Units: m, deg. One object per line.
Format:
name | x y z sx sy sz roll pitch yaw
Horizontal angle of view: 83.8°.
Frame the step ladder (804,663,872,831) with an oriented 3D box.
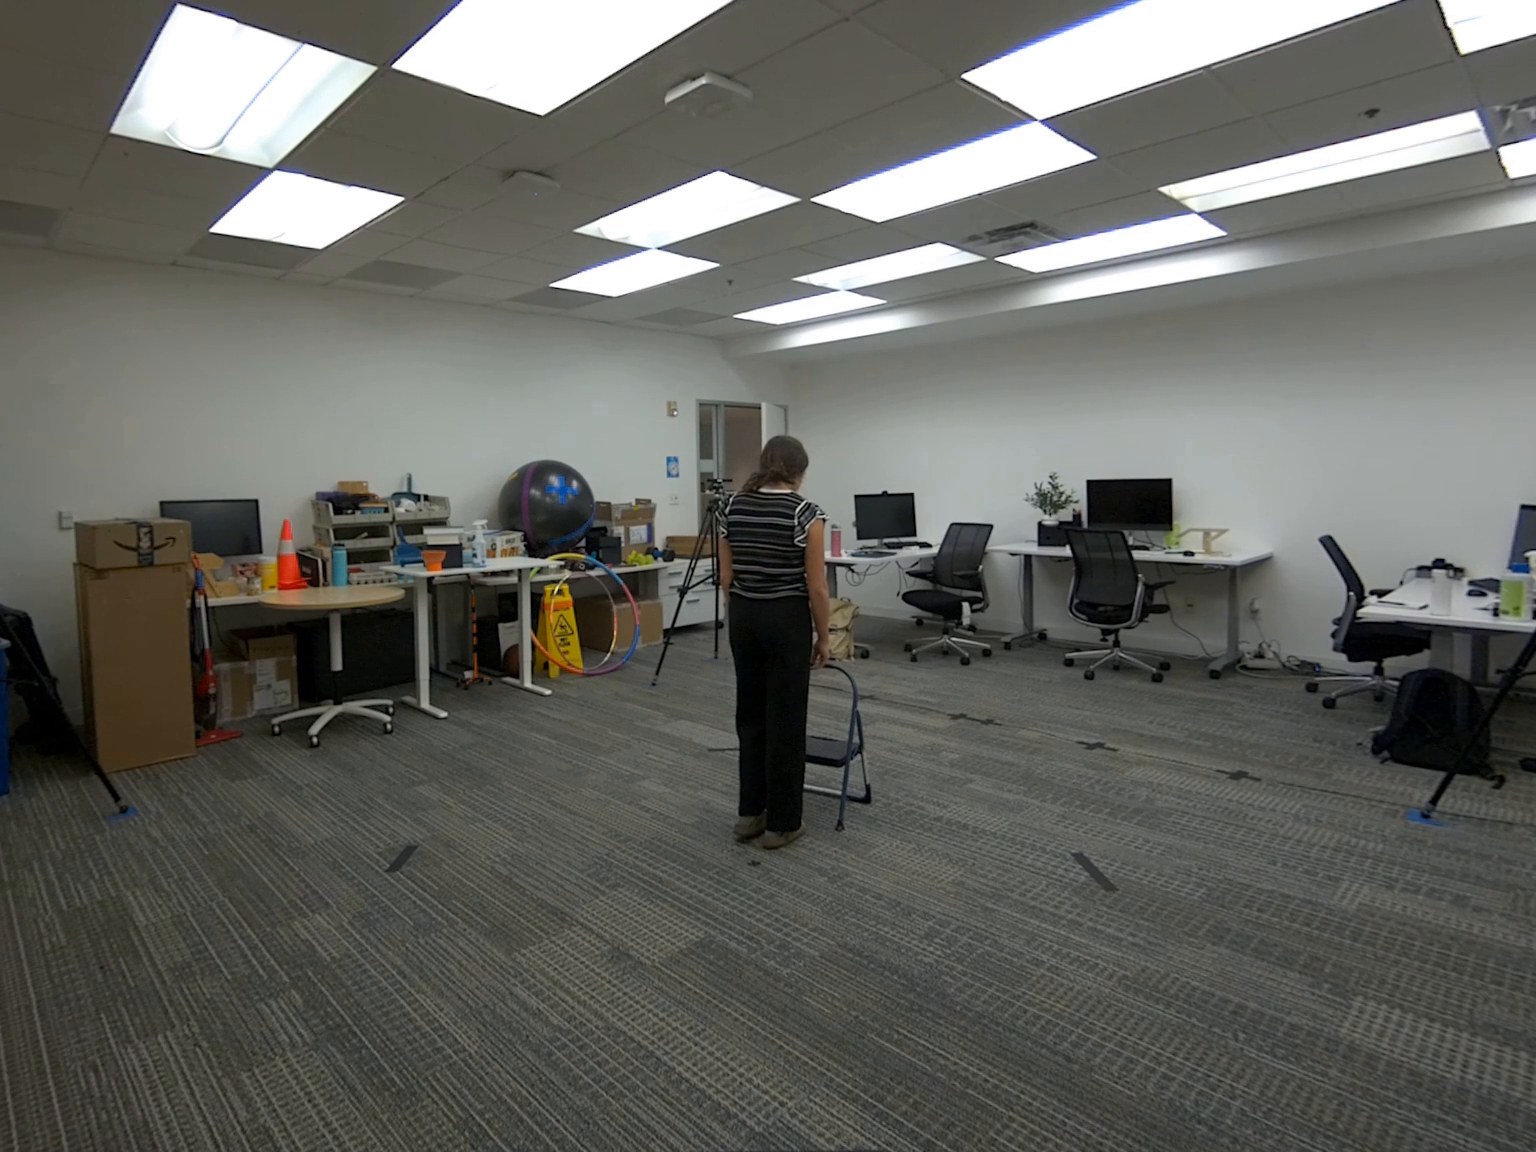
step ladder | 0.186 0.680 3.617 0.442 0.604 0.341 2 5 30
